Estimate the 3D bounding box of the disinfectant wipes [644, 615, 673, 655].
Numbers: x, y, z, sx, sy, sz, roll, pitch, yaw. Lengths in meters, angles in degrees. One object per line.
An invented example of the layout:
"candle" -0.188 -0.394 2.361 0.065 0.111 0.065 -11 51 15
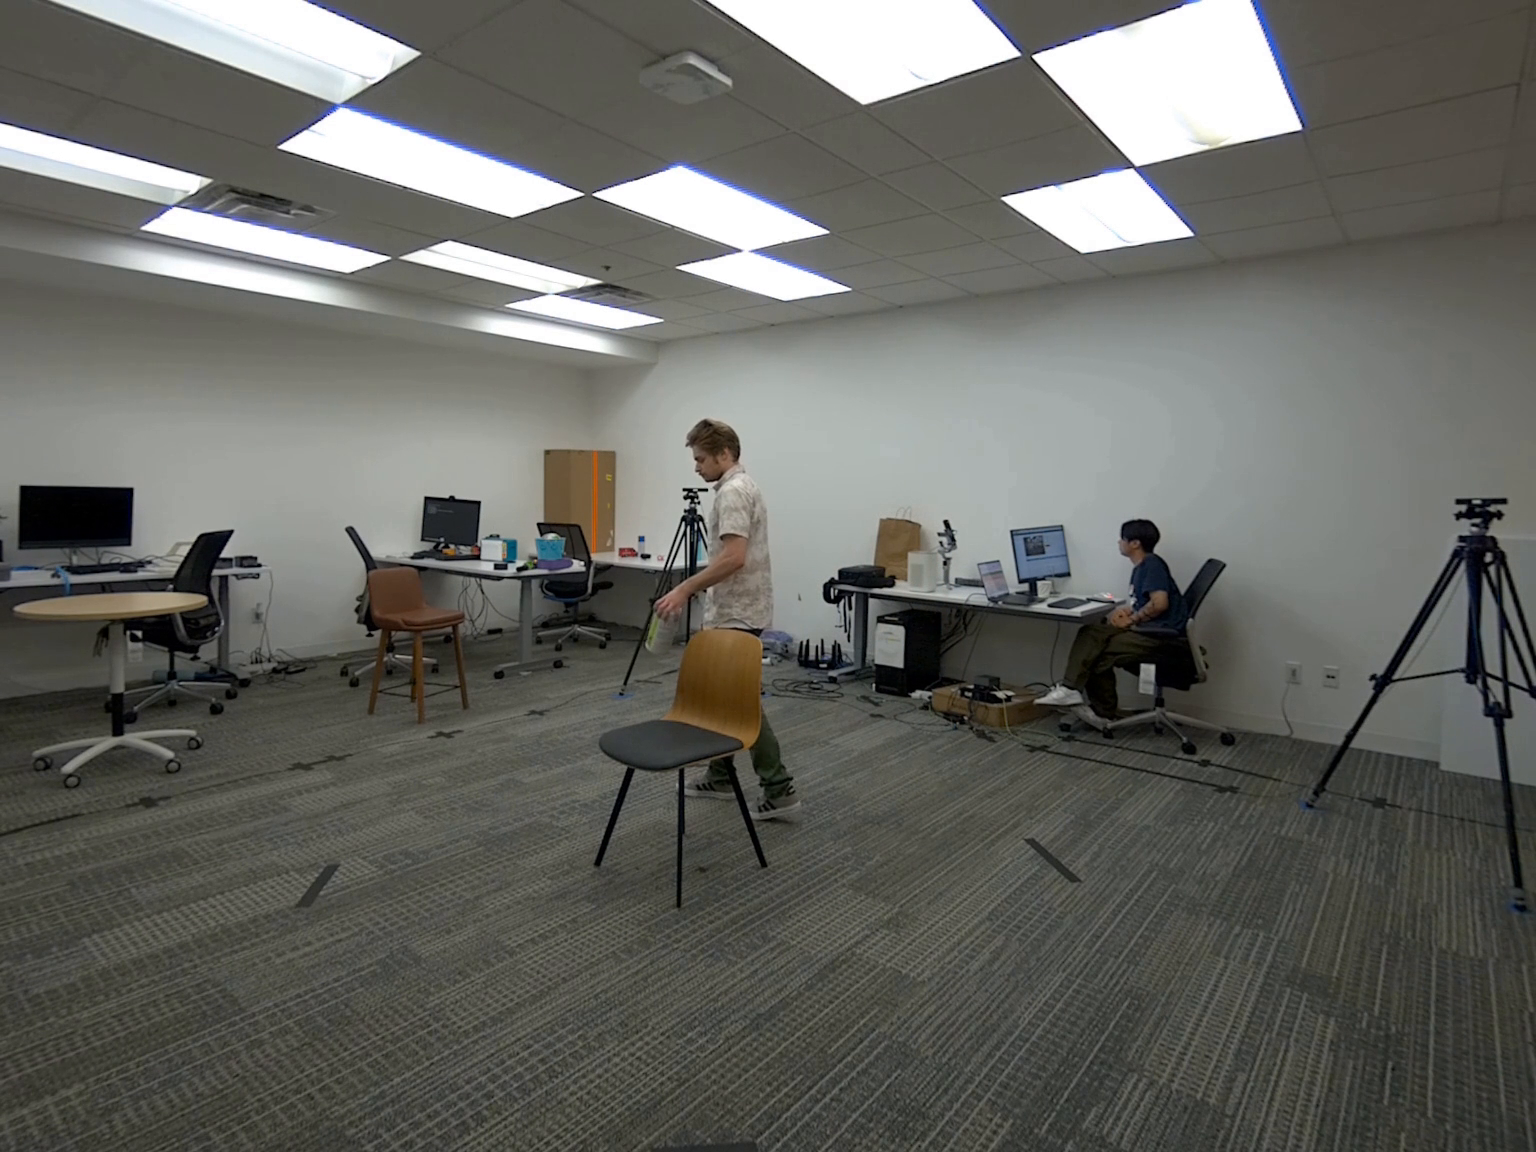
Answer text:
"disinfectant wipes" -0.457 0.221 3.622 0.117 0.215 0.120 15 21 -8
